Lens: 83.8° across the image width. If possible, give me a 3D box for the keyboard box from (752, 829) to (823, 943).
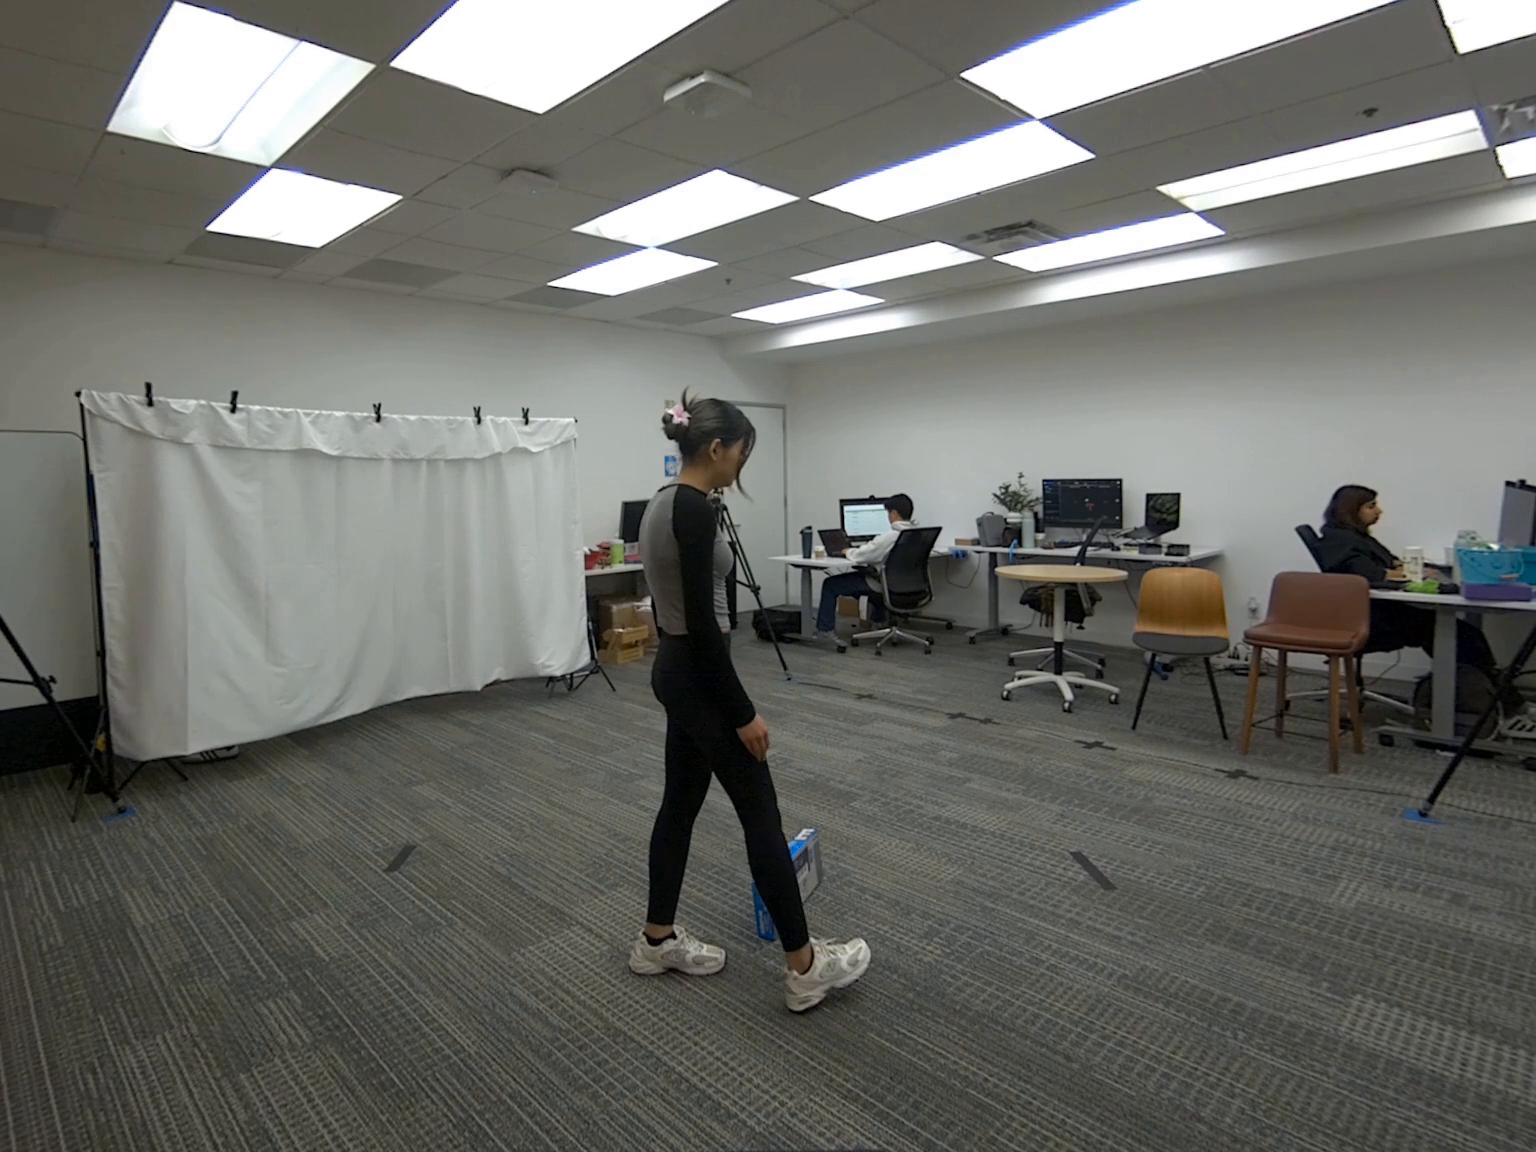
[{"bbox_3d":[0.075,0.990,2.782,0.060,0.175,0.429,-6,4,24],"label":"keyboard box"}]
